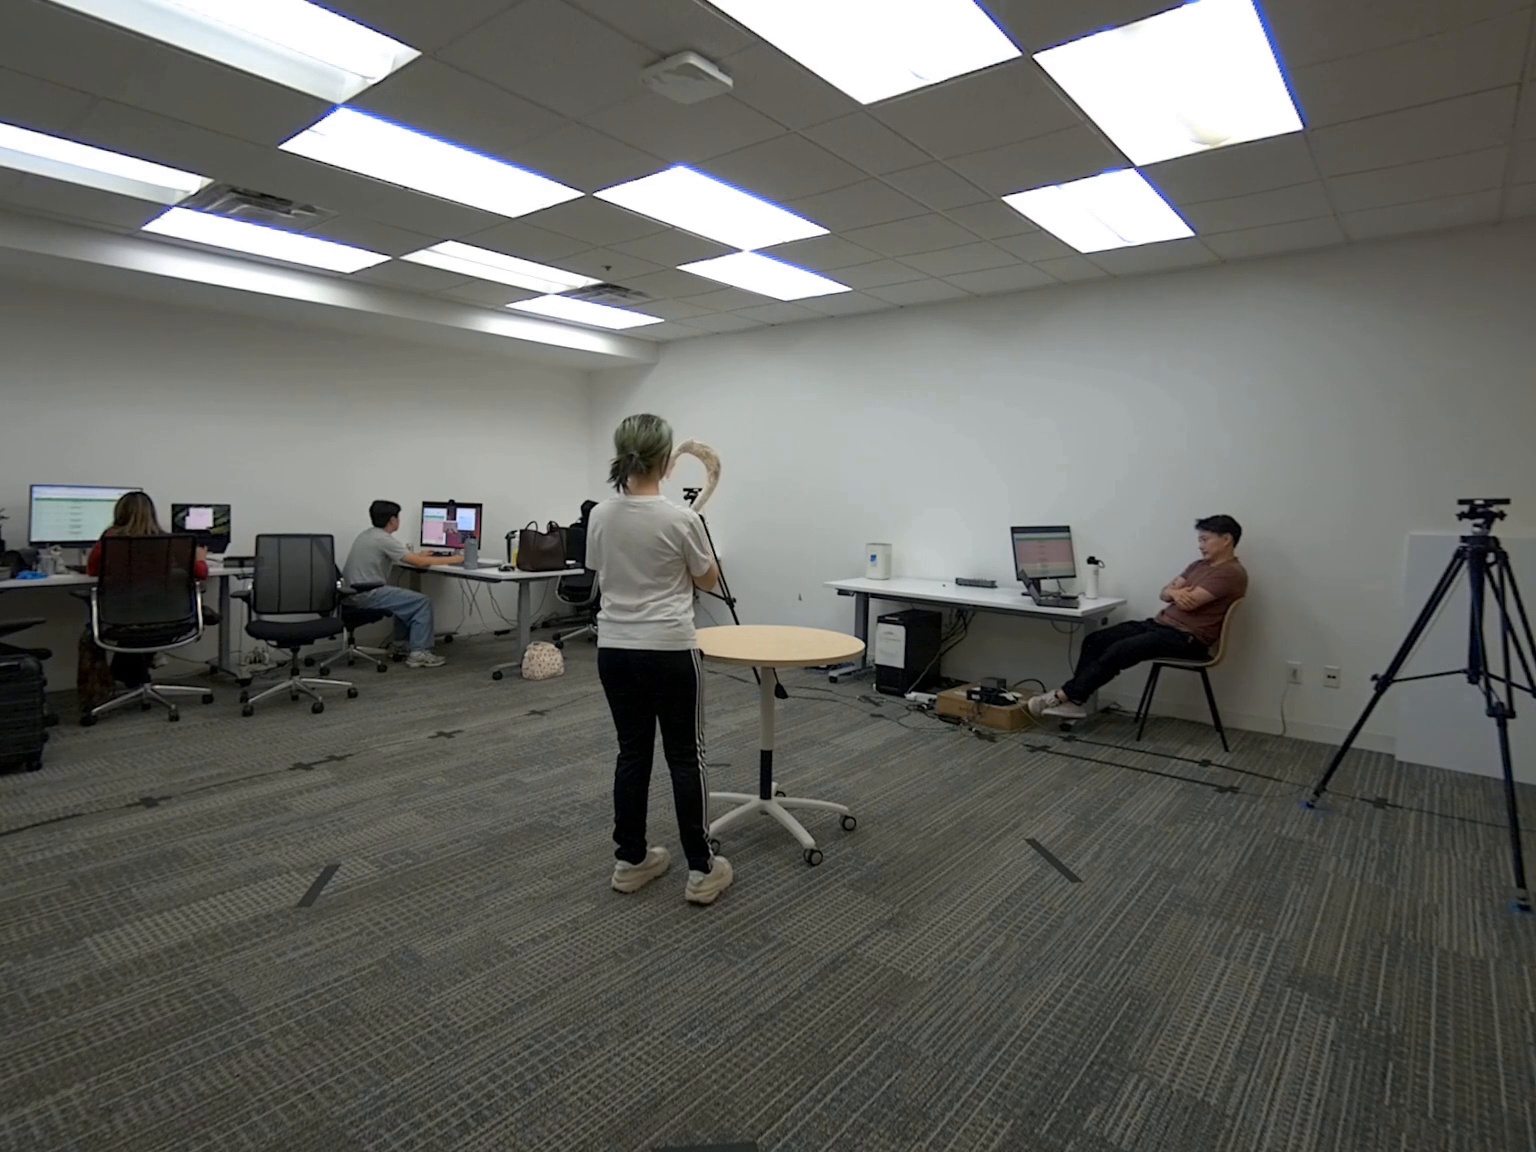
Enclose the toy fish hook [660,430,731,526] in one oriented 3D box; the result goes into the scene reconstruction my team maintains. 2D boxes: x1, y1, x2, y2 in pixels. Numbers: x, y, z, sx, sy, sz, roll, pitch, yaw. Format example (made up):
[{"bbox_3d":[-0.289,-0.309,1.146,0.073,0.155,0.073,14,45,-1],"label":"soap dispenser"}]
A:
[{"bbox_3d":[-0.332,-0.293,3.252,0.220,0.512,0.049,23,-21,-14],"label":"toy fish hook"}]
